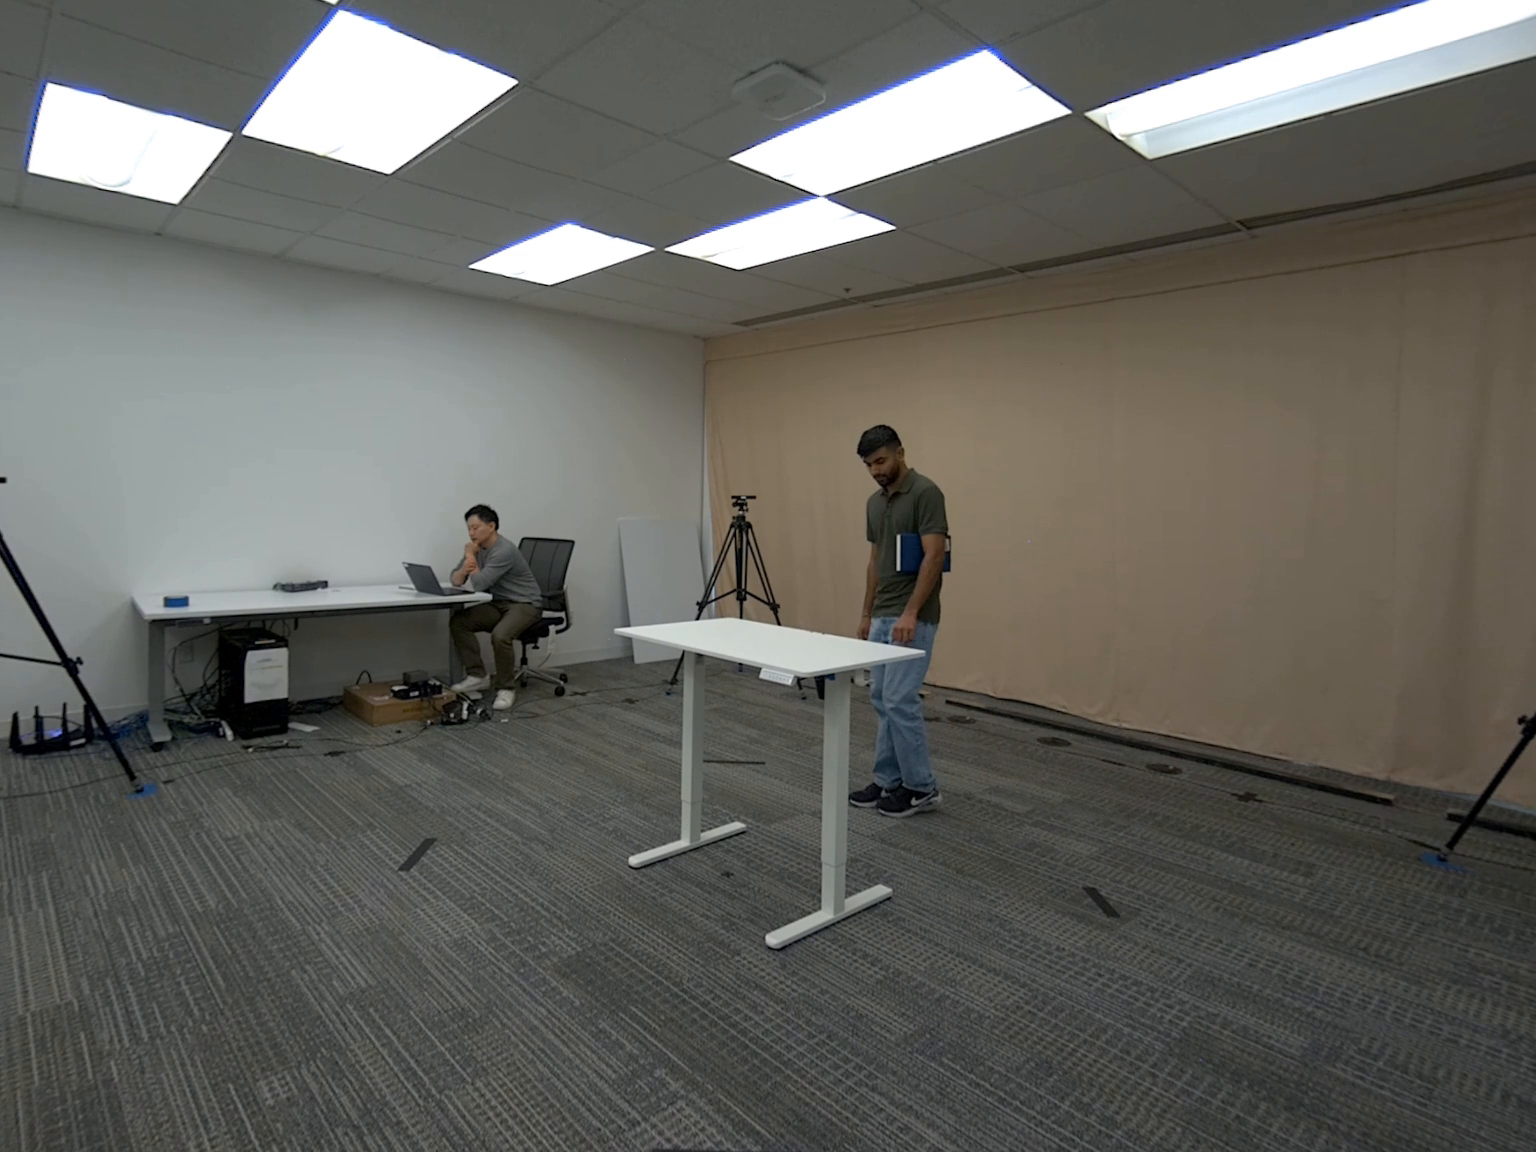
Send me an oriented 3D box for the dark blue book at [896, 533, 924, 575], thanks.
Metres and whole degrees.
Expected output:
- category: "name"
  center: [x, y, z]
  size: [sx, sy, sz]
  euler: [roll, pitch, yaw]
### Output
- category: "dark blue book"
  center: [0.673, -0.090, 3.636]
  size: [0.243, 0.164, 0.045]
  euler: [4, -2, -11]
